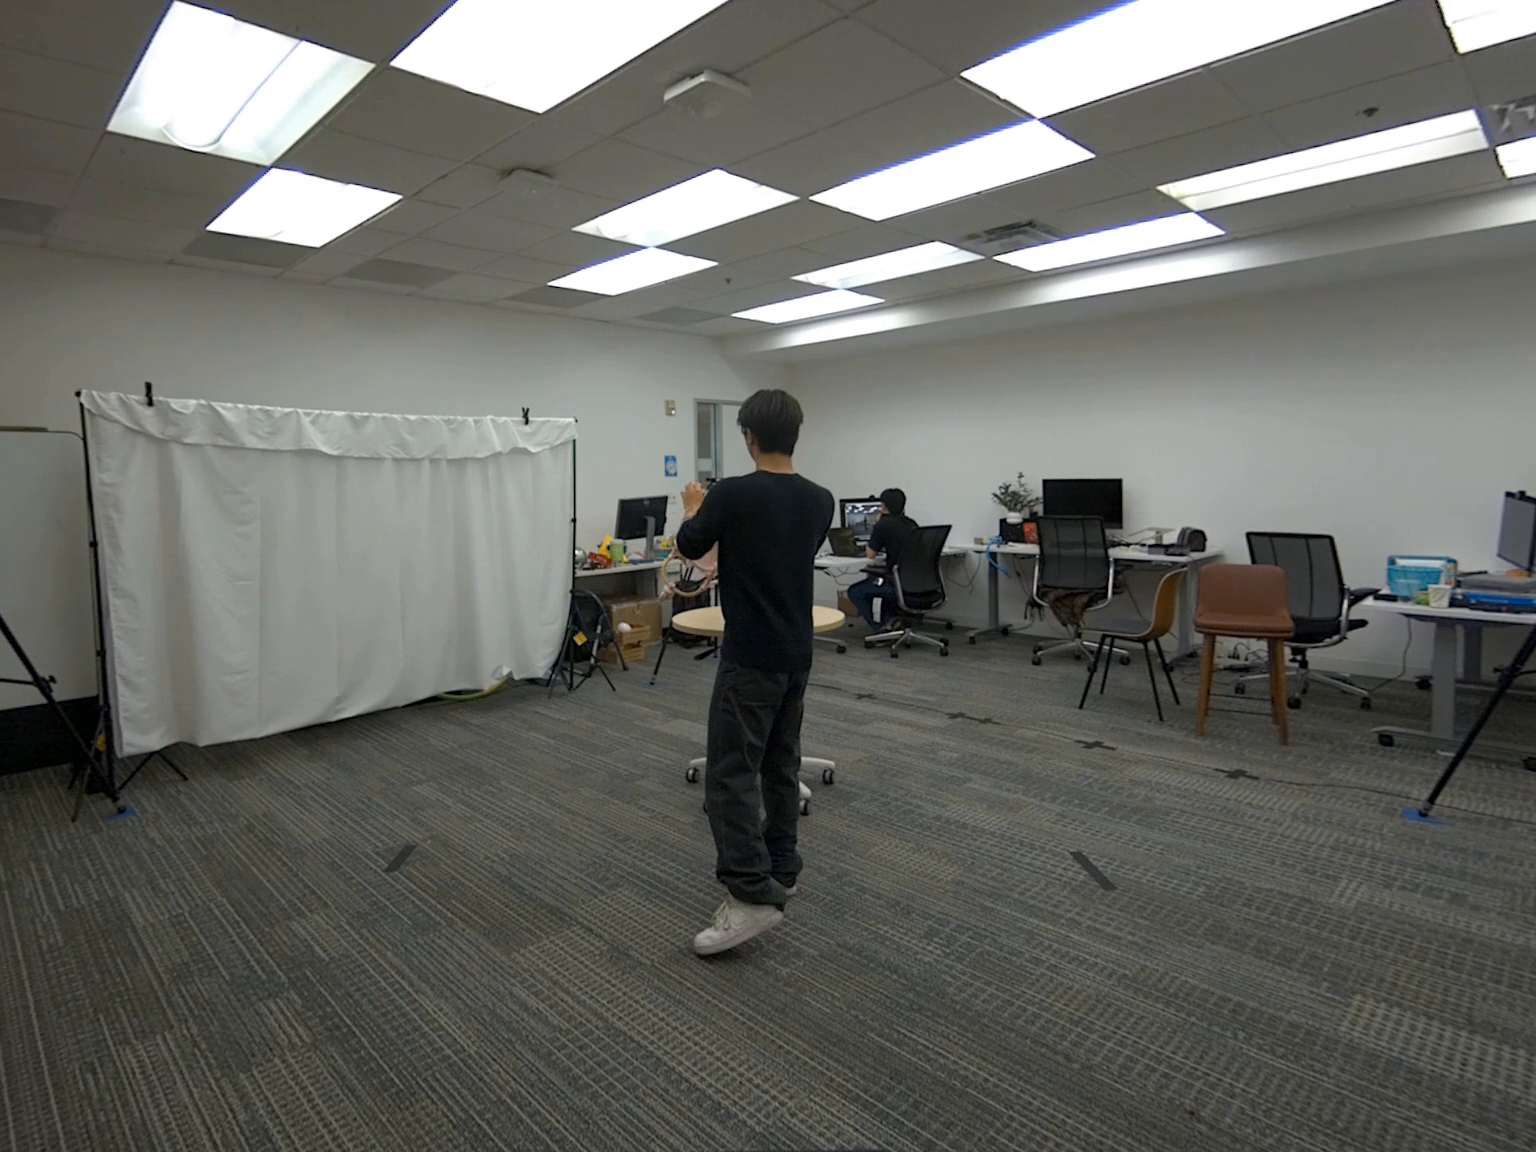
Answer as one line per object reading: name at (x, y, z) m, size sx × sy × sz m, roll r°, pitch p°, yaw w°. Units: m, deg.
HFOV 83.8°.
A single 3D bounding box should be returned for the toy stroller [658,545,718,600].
toy stroller at (-0.227, -0.119, 3.387) m, size 0.288 × 0.531 × 0.335 m, roll 45°, pitch 34°, yaw 18°
